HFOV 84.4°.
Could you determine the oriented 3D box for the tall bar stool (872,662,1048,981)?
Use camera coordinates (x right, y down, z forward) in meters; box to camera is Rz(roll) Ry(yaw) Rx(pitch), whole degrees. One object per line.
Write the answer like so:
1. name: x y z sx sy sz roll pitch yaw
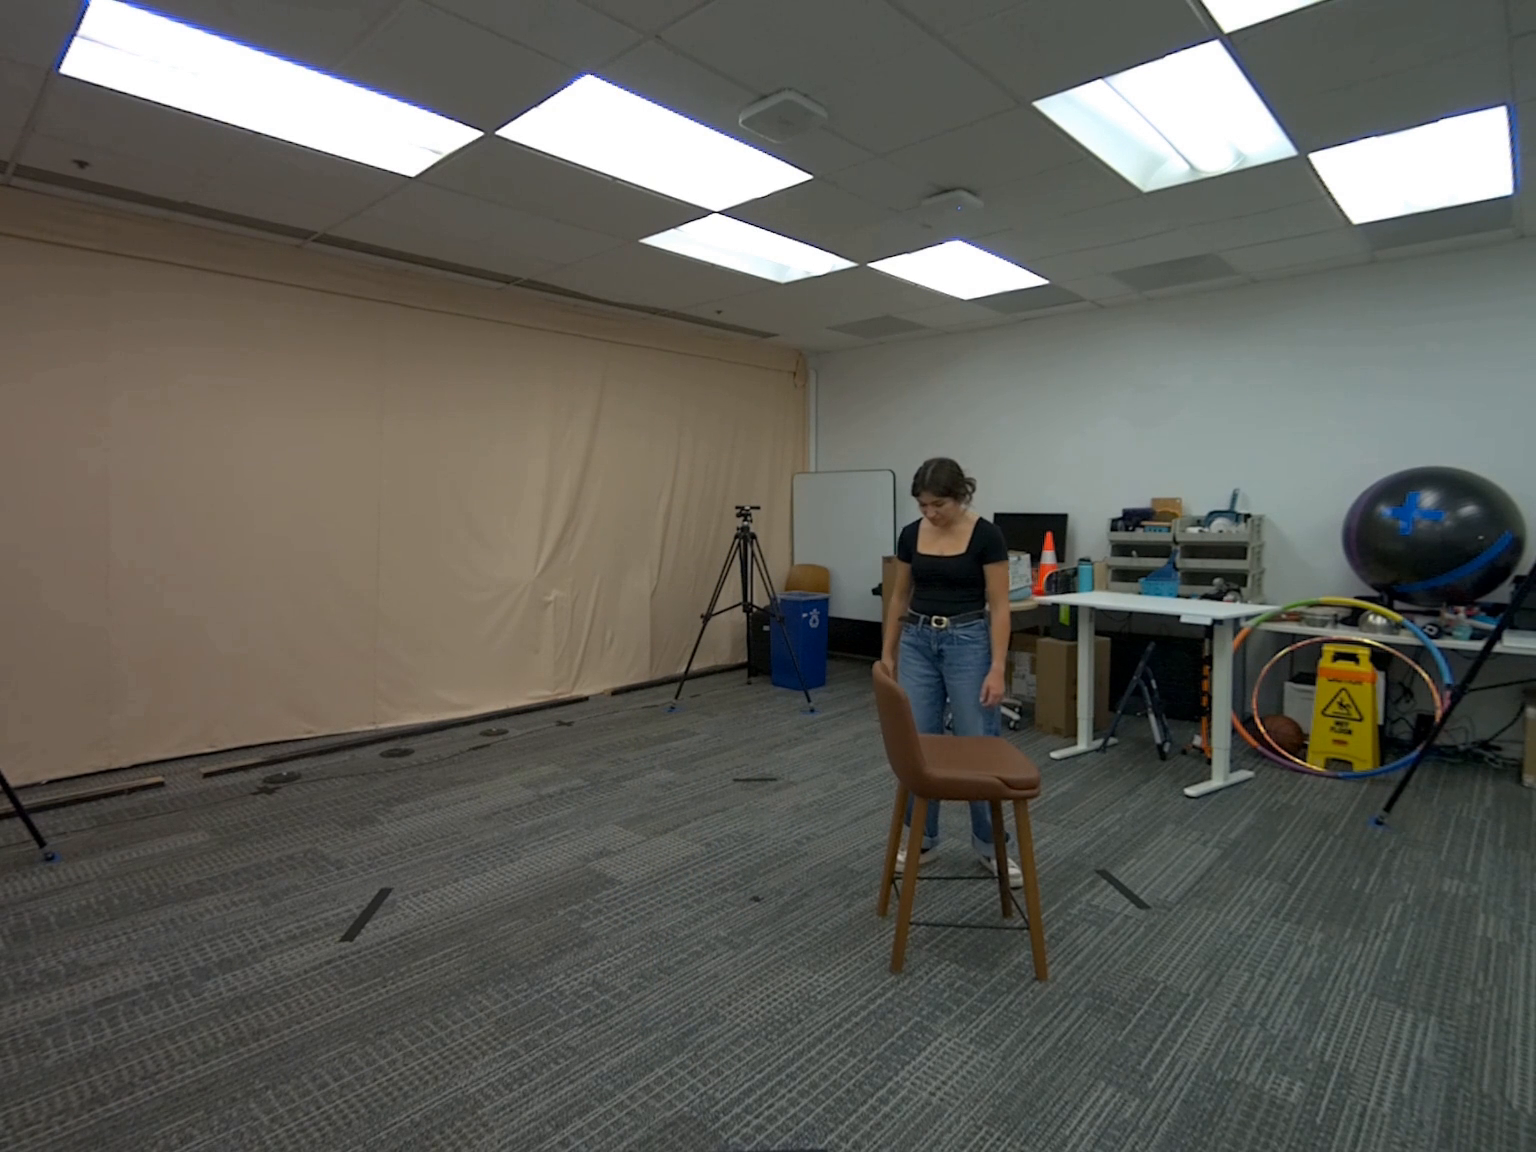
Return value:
1. tall bar stool: 0.594 0.737 2.650 0.470 0.888 0.455 -2 3 4
